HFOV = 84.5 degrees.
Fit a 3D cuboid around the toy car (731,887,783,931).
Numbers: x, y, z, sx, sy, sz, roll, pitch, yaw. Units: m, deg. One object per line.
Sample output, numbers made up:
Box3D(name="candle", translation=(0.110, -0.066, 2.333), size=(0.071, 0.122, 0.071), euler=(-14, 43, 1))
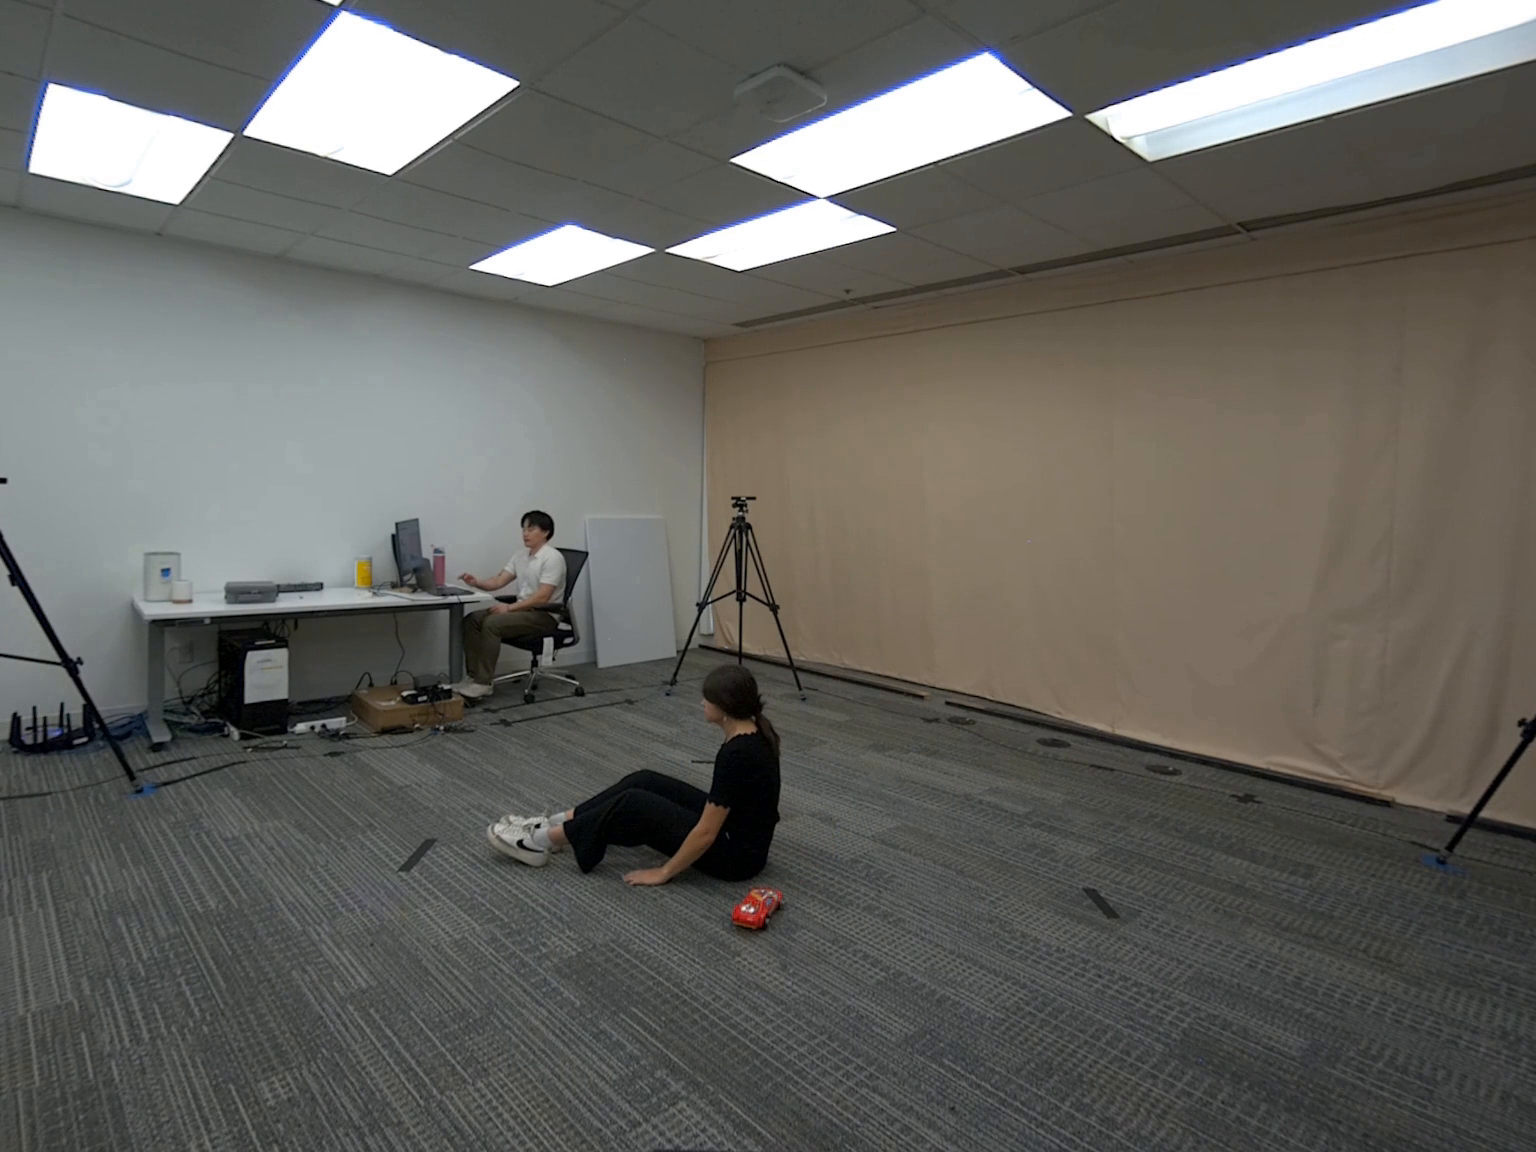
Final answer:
Box3D(name="toy car", translation=(-0.052, 1.105, 2.786), size=(0.132, 0.083, 0.249), euler=(3, -5, 22))
